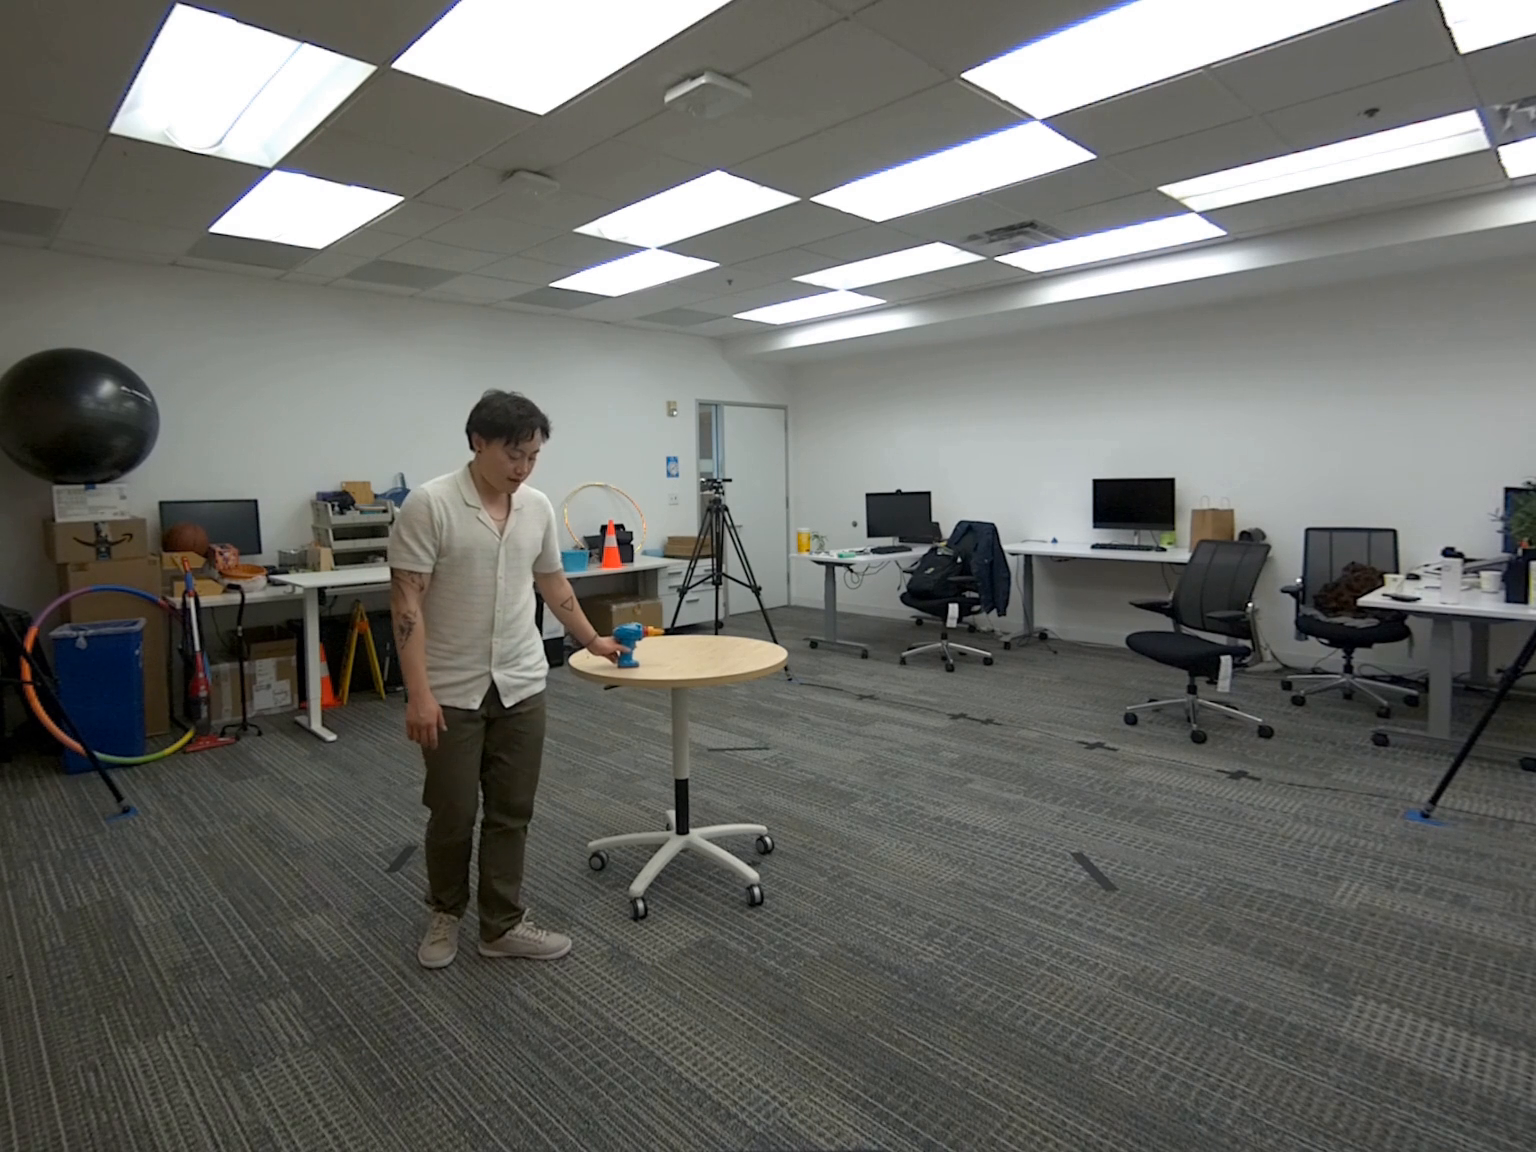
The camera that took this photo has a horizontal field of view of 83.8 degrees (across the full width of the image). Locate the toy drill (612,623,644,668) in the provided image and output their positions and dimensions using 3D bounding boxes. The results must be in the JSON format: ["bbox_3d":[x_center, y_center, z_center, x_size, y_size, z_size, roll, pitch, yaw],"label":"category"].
[{"bbox_3d":[-0.428,0.224,2.830,0.168,0.146,0.061,-4,1,-8],"label":"toy drill"}]
